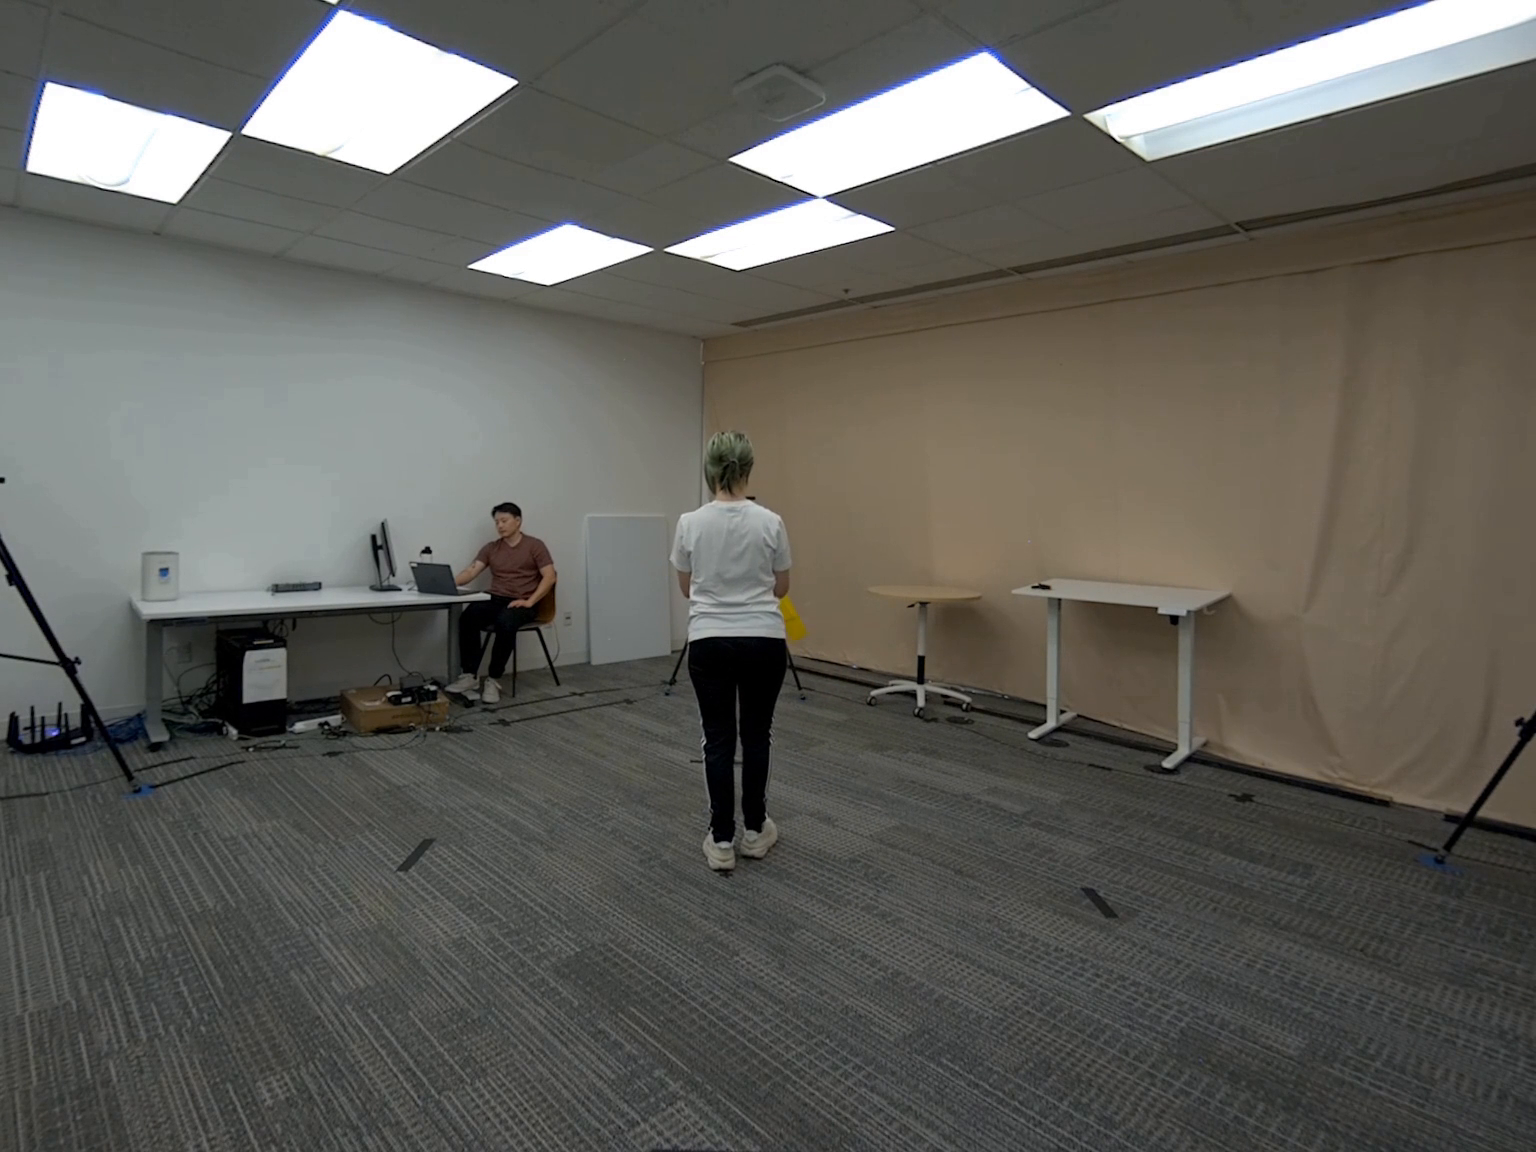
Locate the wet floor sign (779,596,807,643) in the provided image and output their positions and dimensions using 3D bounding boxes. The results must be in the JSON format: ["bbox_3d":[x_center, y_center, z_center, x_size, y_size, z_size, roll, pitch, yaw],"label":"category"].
[{"bbox_3d":[-0.101,0.009,3.683,0.282,0.640,0.292,-25,10,1],"label":"wet floor sign"}]
